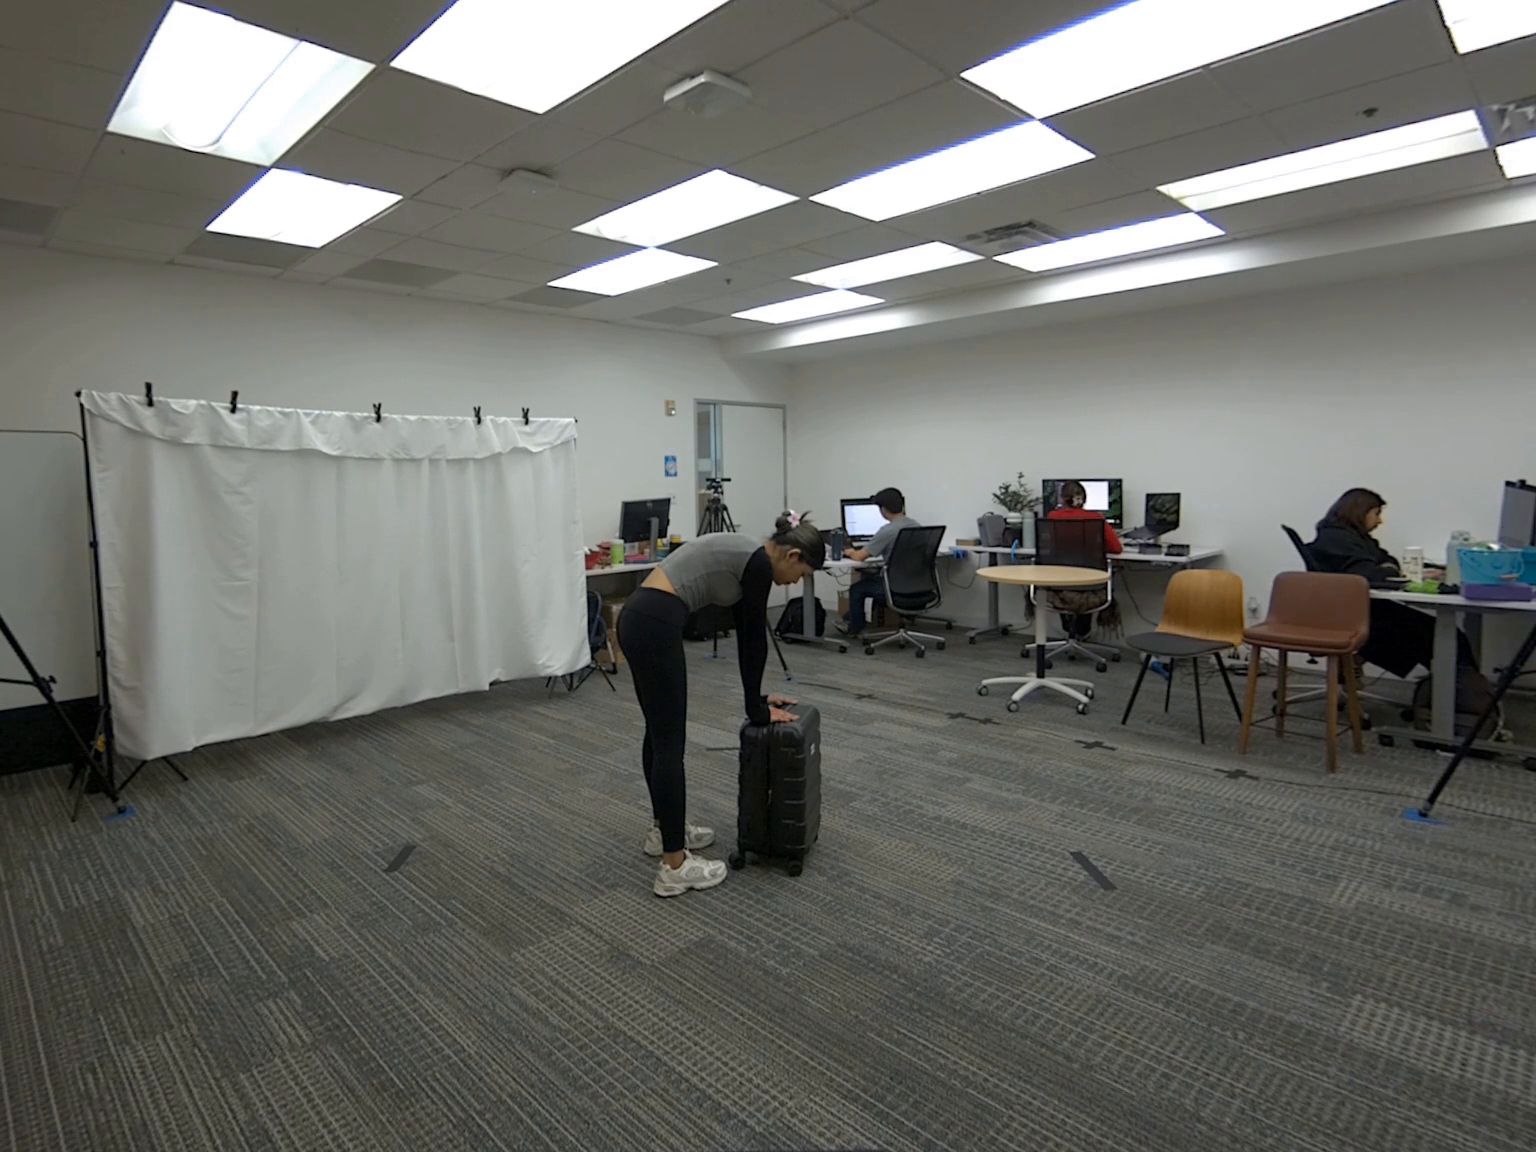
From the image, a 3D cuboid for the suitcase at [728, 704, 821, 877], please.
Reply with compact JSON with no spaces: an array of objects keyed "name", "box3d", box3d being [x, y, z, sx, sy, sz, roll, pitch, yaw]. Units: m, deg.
[{"name":"suitcase","box3d":[0.044,0.759,3.168,0.252,0.547,0.370,2,5,16]}]
